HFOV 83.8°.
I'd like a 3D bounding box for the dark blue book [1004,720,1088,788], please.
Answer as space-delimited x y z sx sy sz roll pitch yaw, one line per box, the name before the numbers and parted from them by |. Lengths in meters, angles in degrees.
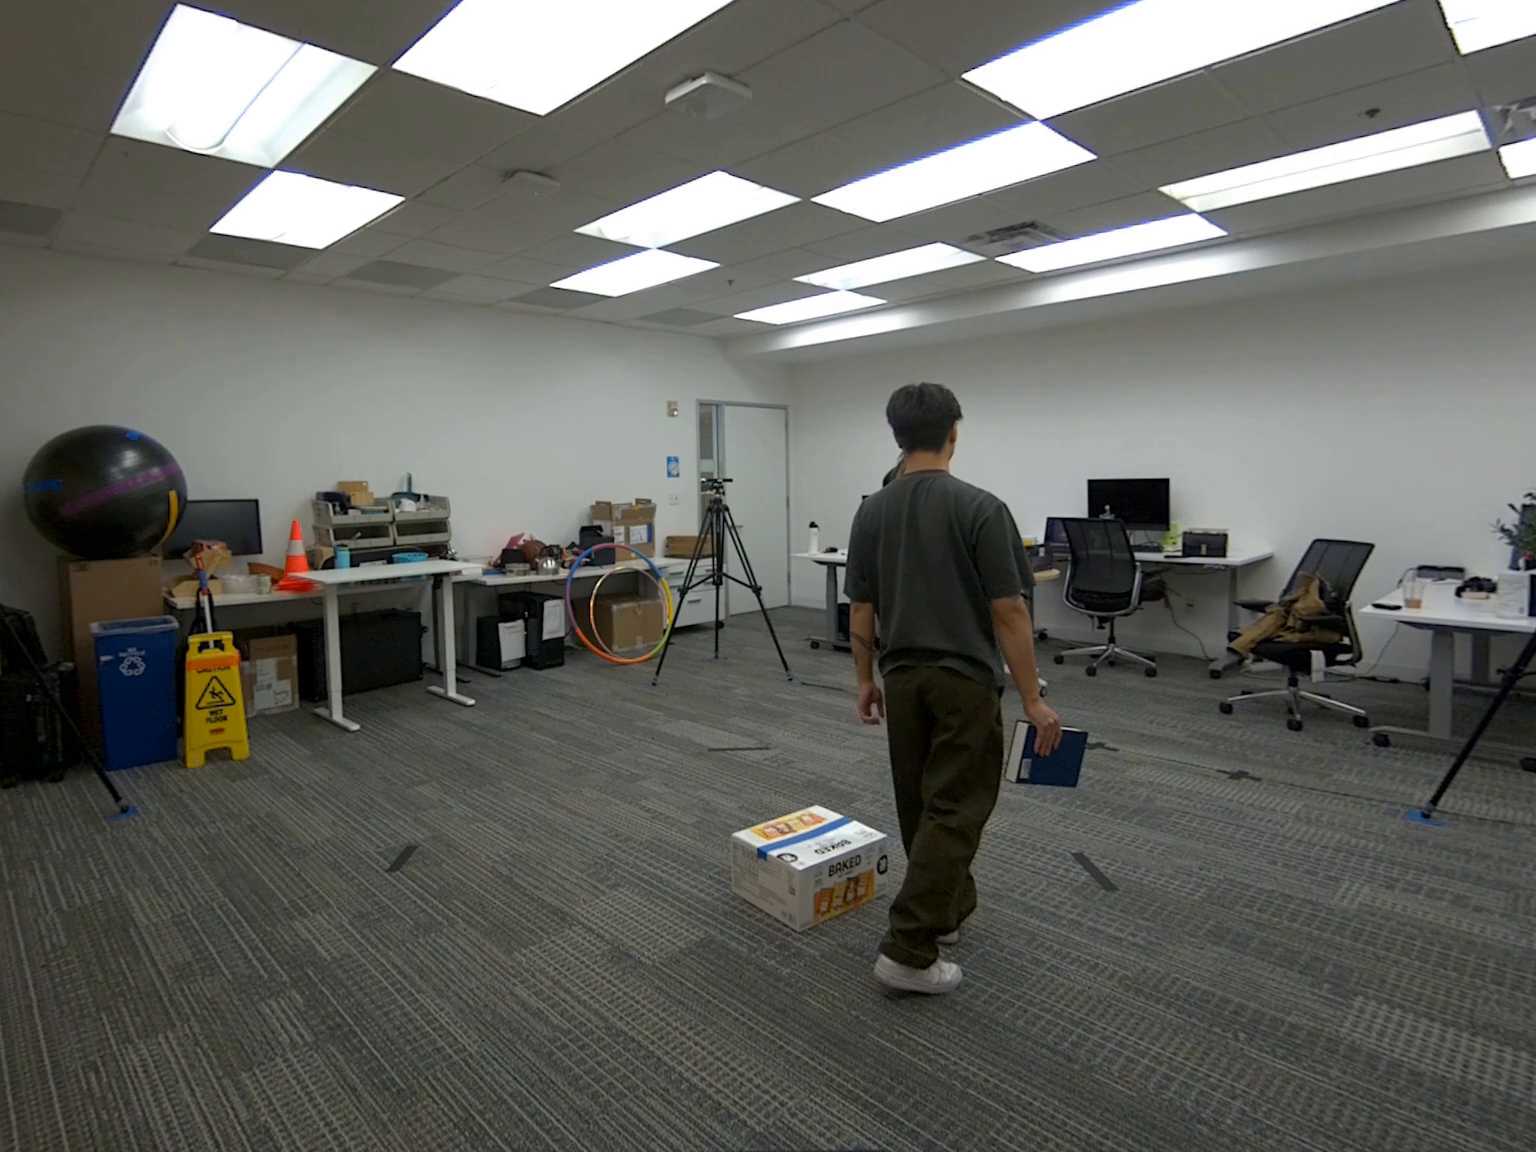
dark blue book | 0.762 0.485 2.340 0.238 0.163 0.046 12 1 -26
